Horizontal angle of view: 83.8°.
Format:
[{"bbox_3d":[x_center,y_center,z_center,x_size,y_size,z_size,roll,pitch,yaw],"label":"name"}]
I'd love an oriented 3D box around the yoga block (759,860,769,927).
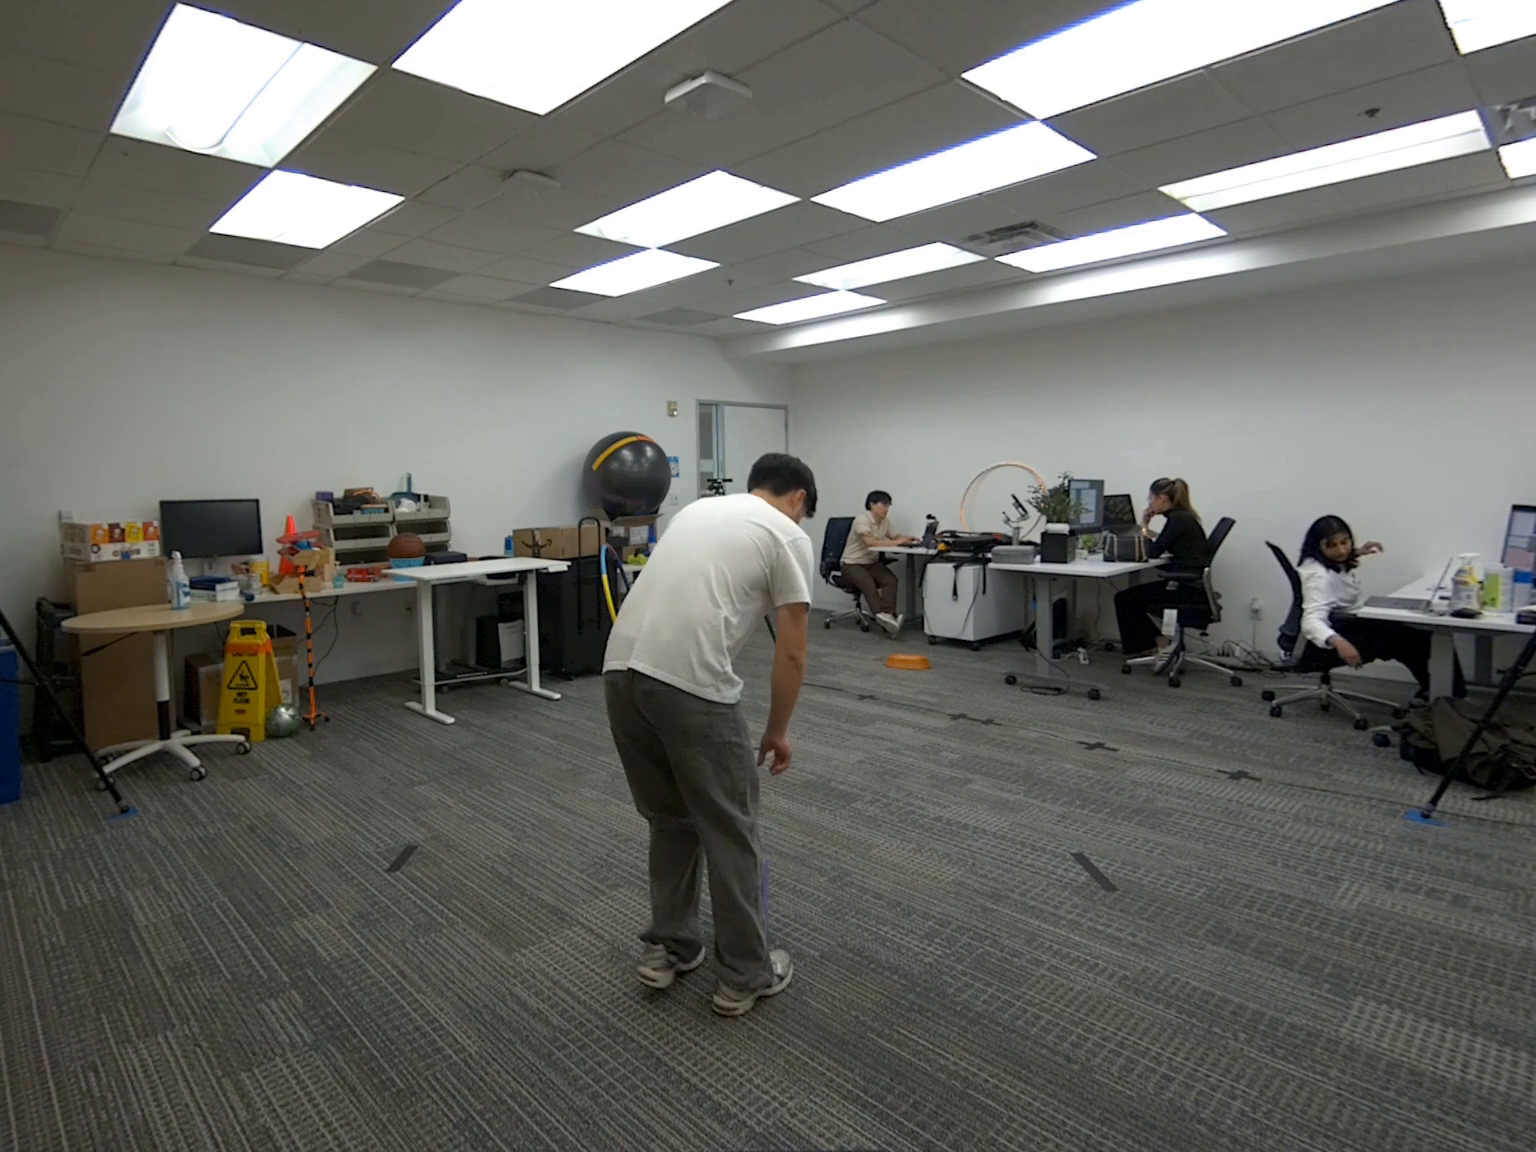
[{"bbox_3d":[-0.067,0.987,2.652,0.151,0.229,0.075,0,2,16],"label":"yoga block"}]
